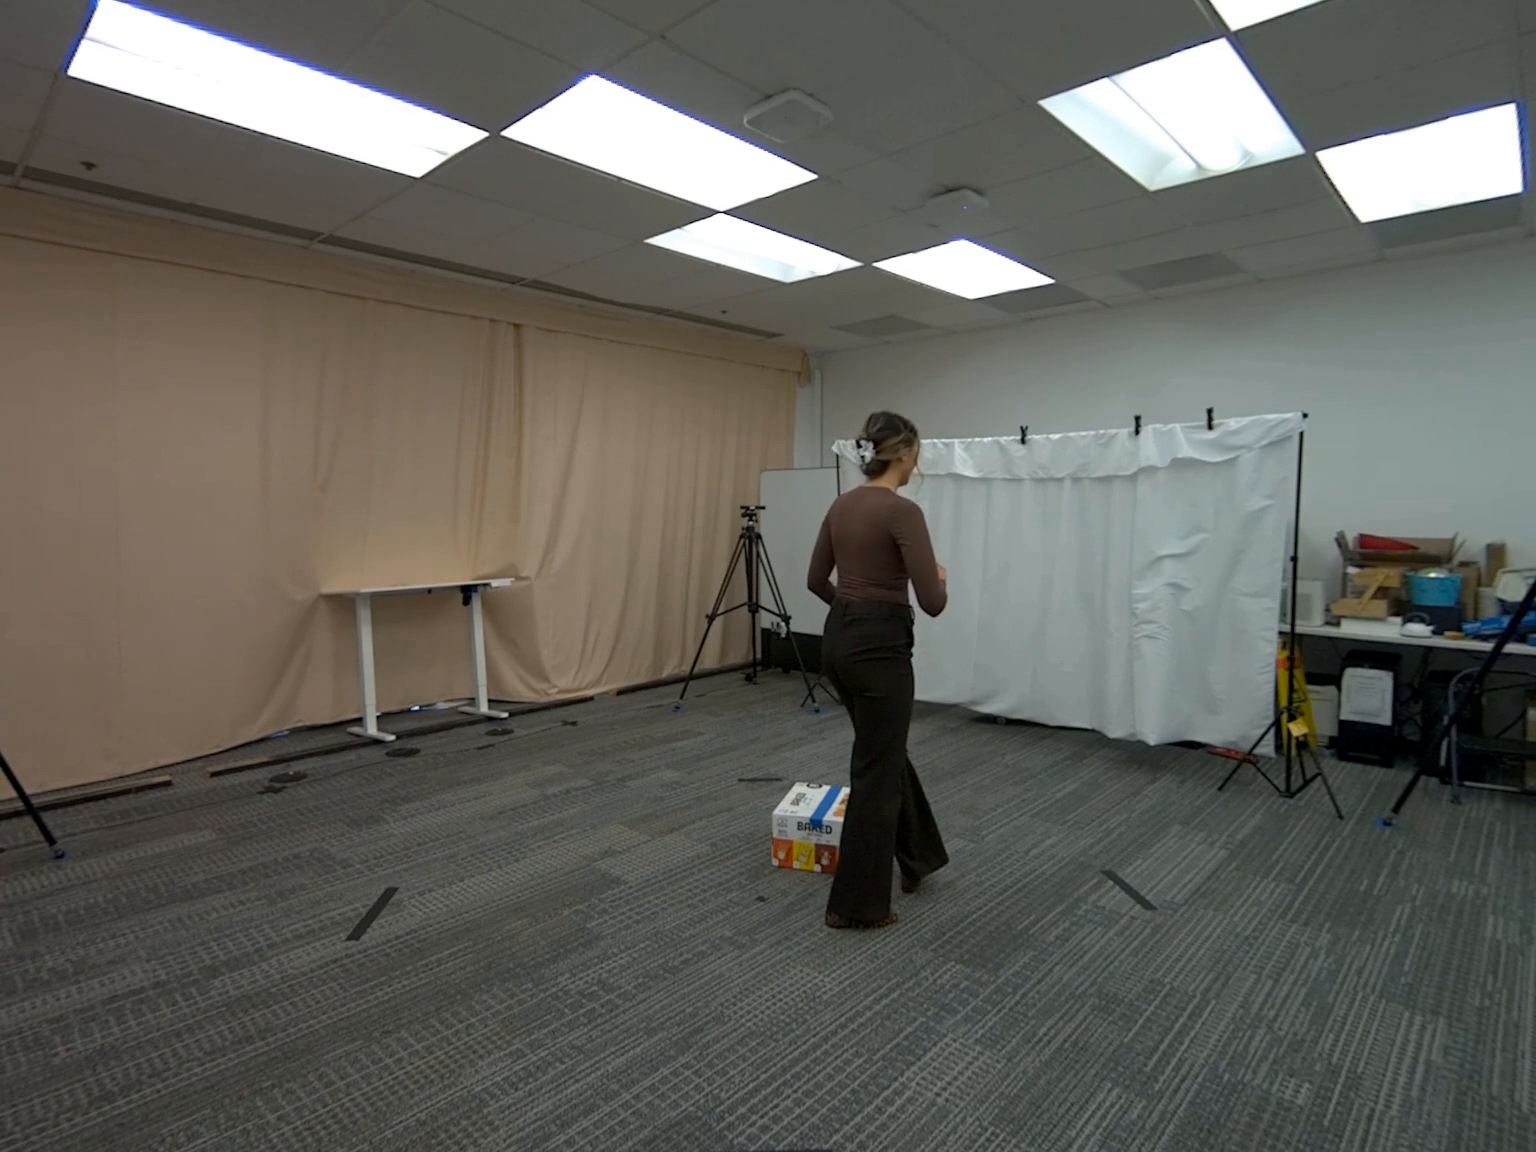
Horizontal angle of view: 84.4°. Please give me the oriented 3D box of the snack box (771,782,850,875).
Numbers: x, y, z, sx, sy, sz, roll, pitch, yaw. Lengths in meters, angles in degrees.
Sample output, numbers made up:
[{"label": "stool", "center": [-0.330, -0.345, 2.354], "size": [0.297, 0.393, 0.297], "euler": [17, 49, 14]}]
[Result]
[{"label": "snack box", "center": [0.236, 1.006, 3.383], "size": [0.347, 0.205, 0.398], "euler": [2, 4, 18]}]
